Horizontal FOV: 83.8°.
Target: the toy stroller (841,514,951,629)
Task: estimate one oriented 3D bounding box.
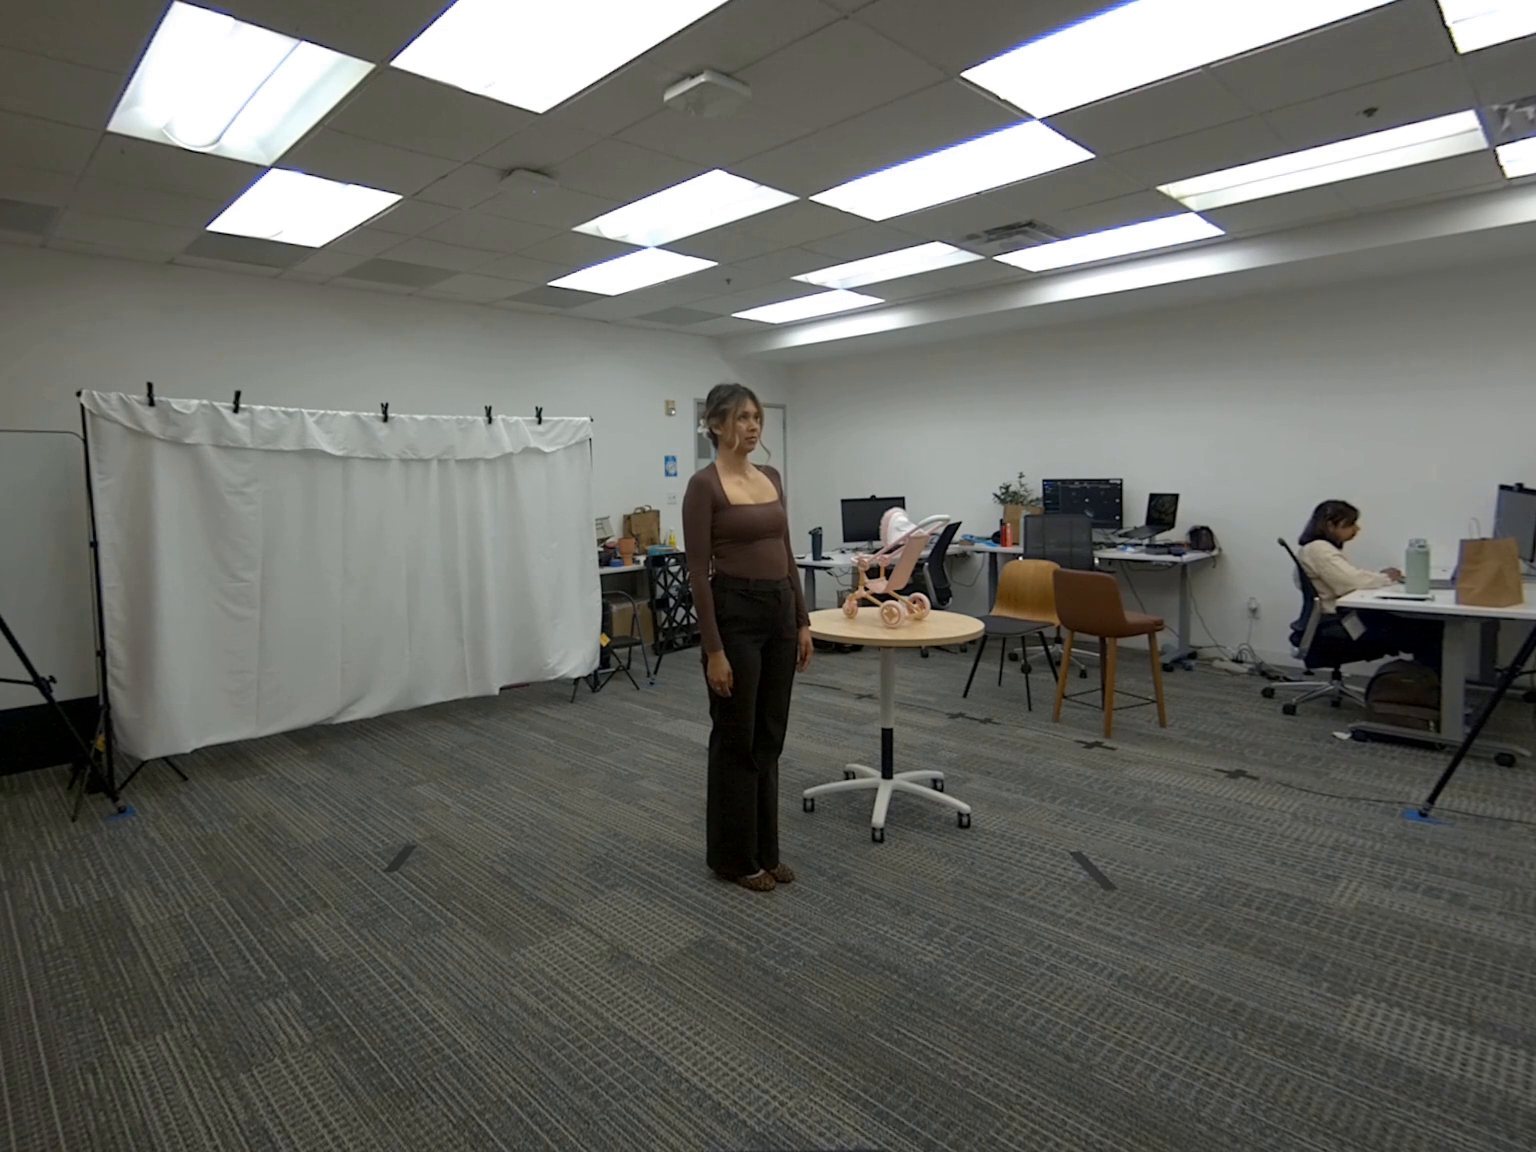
[{"bbox_3d":[0.507,-0.035,3.495,0.354,0.530,0.274,21,17,37],"label":"toy stroller"}]
